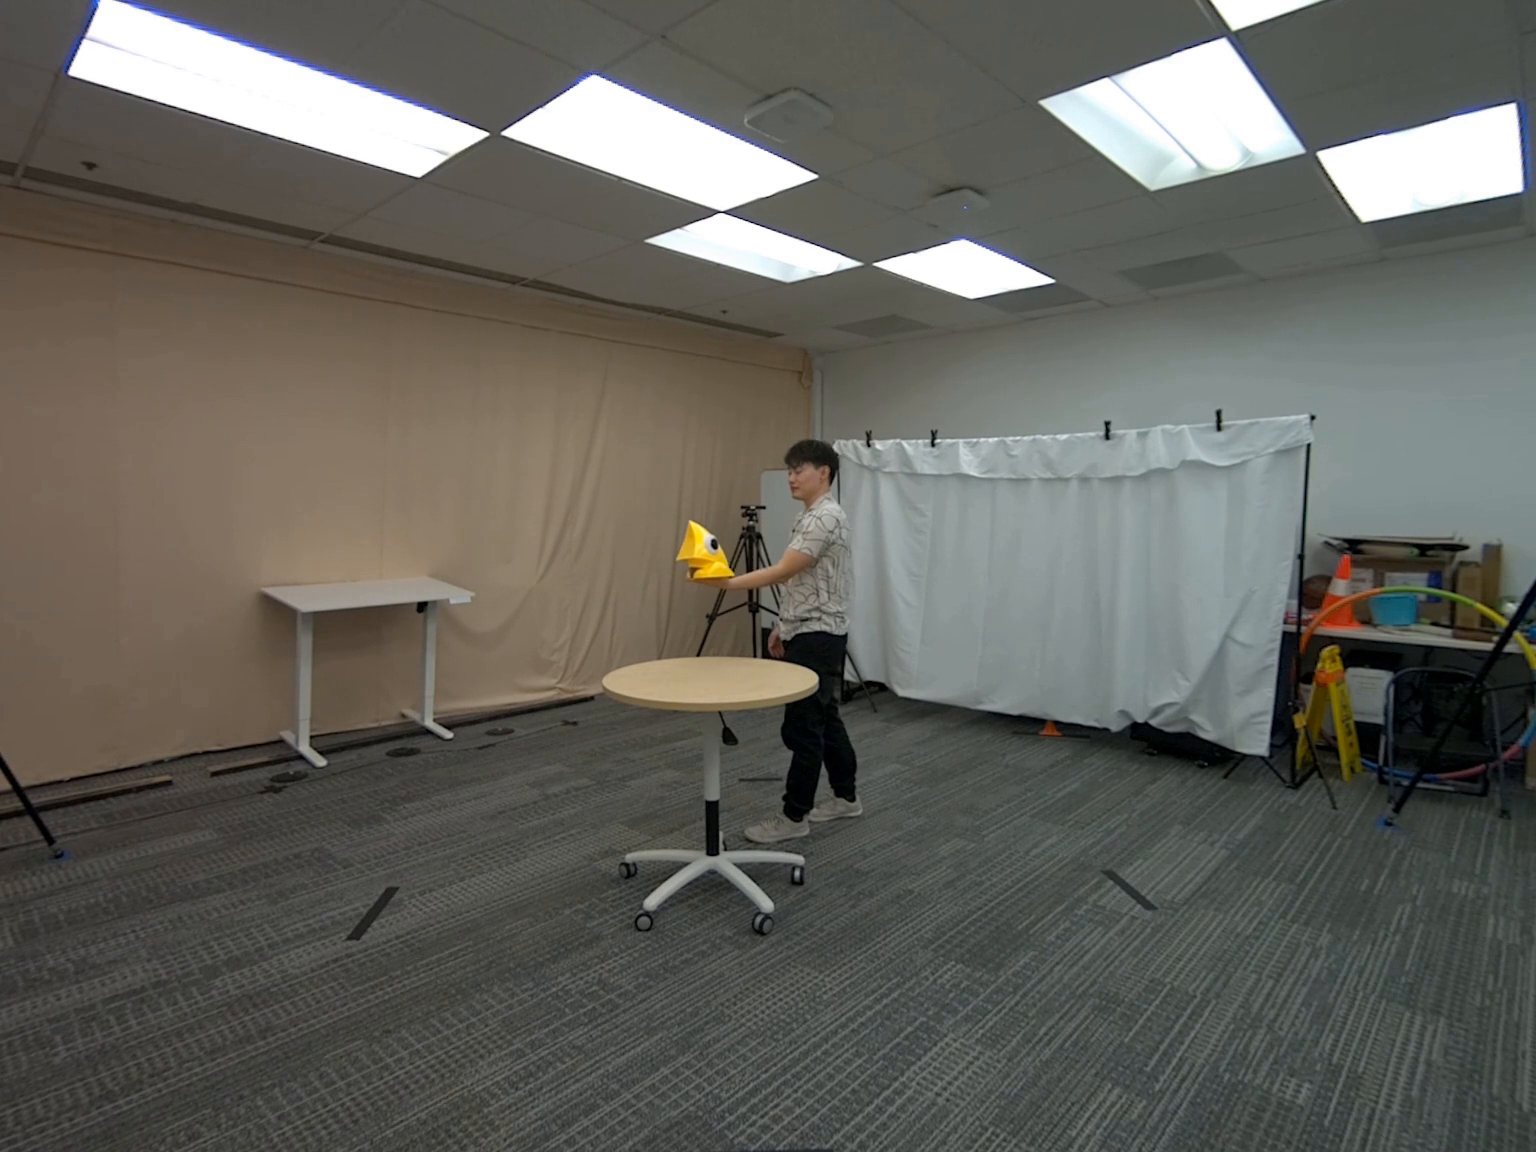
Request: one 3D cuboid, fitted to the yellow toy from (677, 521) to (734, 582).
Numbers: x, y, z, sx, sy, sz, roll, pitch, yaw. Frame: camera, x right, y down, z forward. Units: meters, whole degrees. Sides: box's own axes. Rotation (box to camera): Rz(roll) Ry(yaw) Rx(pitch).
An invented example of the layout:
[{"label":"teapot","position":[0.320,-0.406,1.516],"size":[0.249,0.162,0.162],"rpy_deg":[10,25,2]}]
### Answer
[{"label":"yellow toy","position":[-0.246,-0.110,3.355],"size":[0.188,0.231,0.209],"rpy_deg":[-3,-2,-25]}]
